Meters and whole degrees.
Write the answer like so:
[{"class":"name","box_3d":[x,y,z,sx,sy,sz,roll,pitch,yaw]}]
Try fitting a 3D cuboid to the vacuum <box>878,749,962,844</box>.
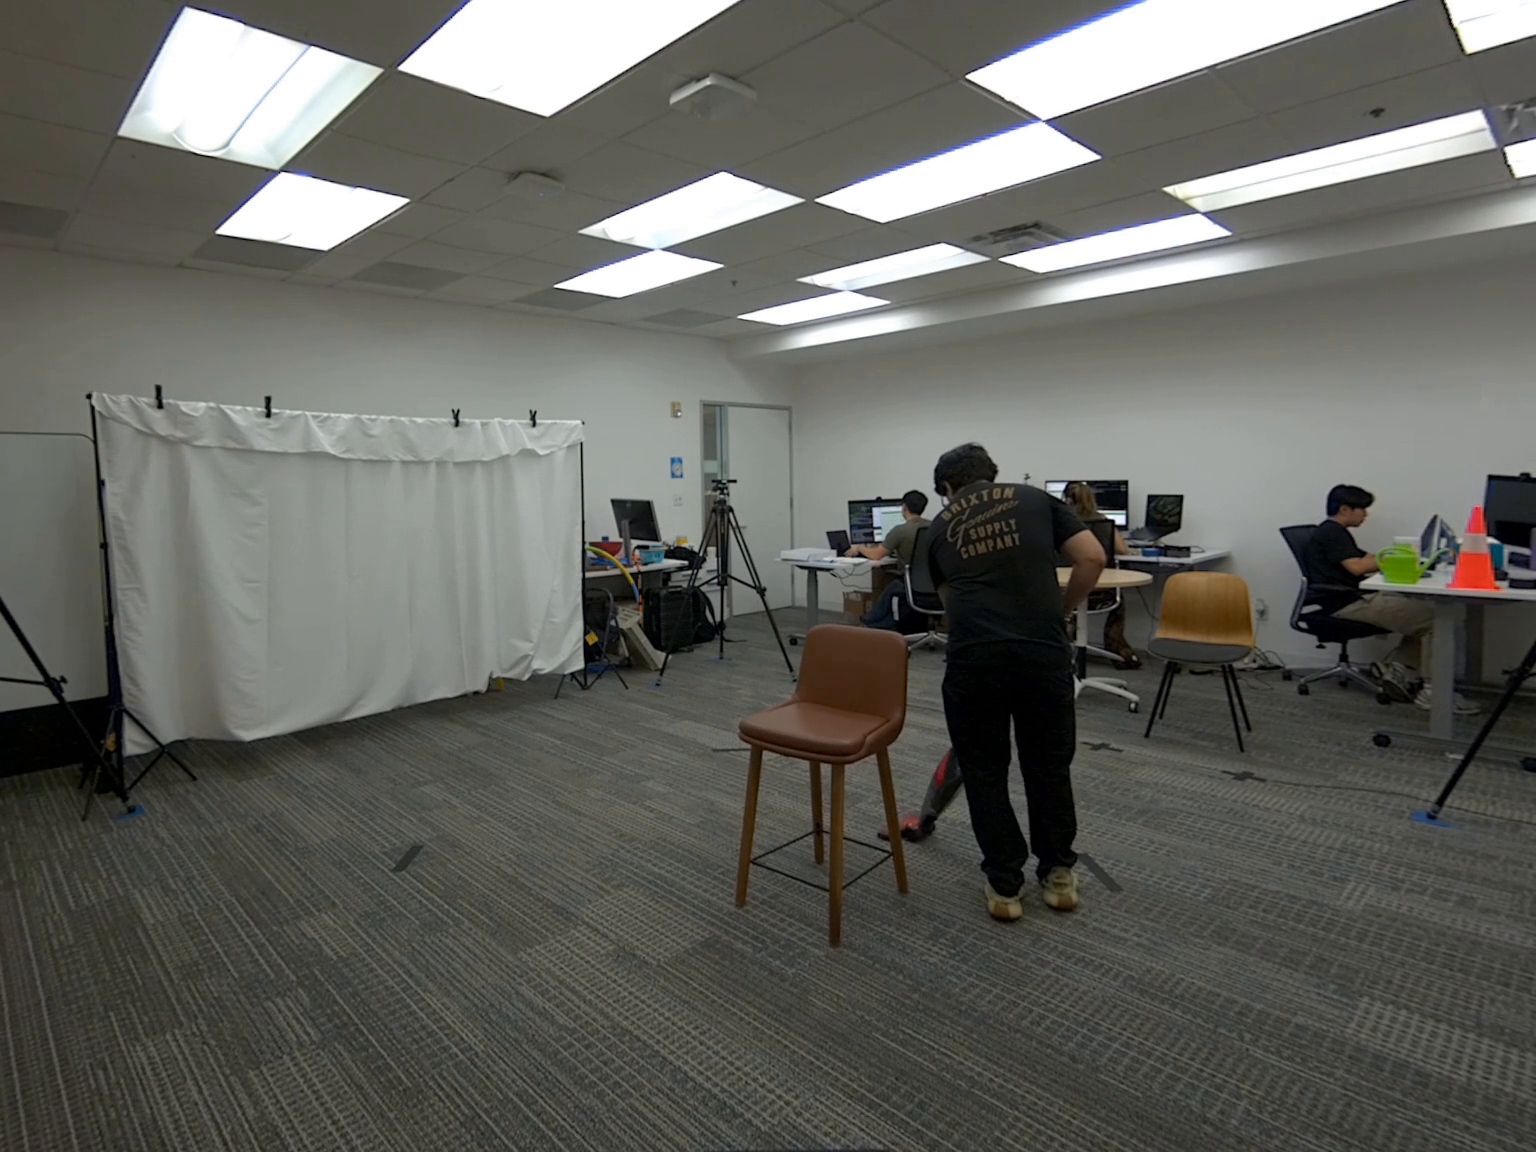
[{"class":"vacuum","box_3d":[0.765,0.598,3.118,0.246,1.039,0.149,-7,43,-47]}]
